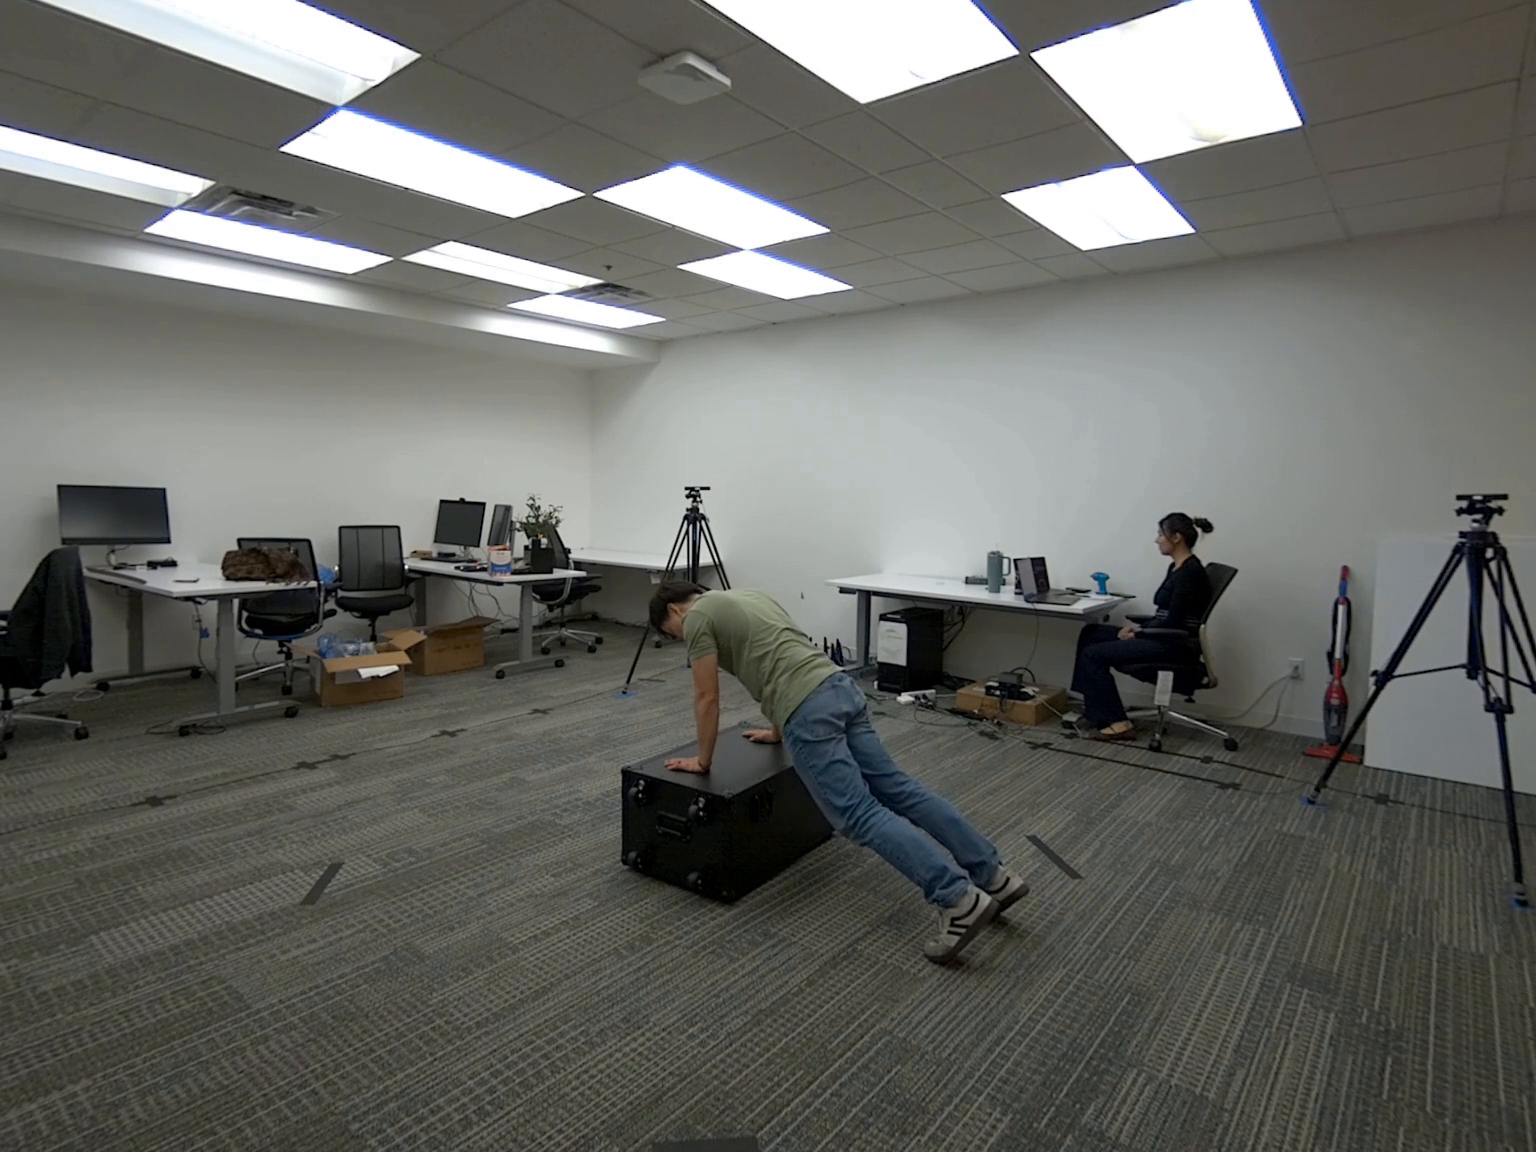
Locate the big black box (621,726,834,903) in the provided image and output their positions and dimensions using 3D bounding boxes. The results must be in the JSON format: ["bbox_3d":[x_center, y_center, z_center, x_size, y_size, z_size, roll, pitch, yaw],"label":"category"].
[{"bbox_3d":[-0.153,0.867,3.225,0.538,0.395,0.837,4,5,34],"label":"big black box"}]
